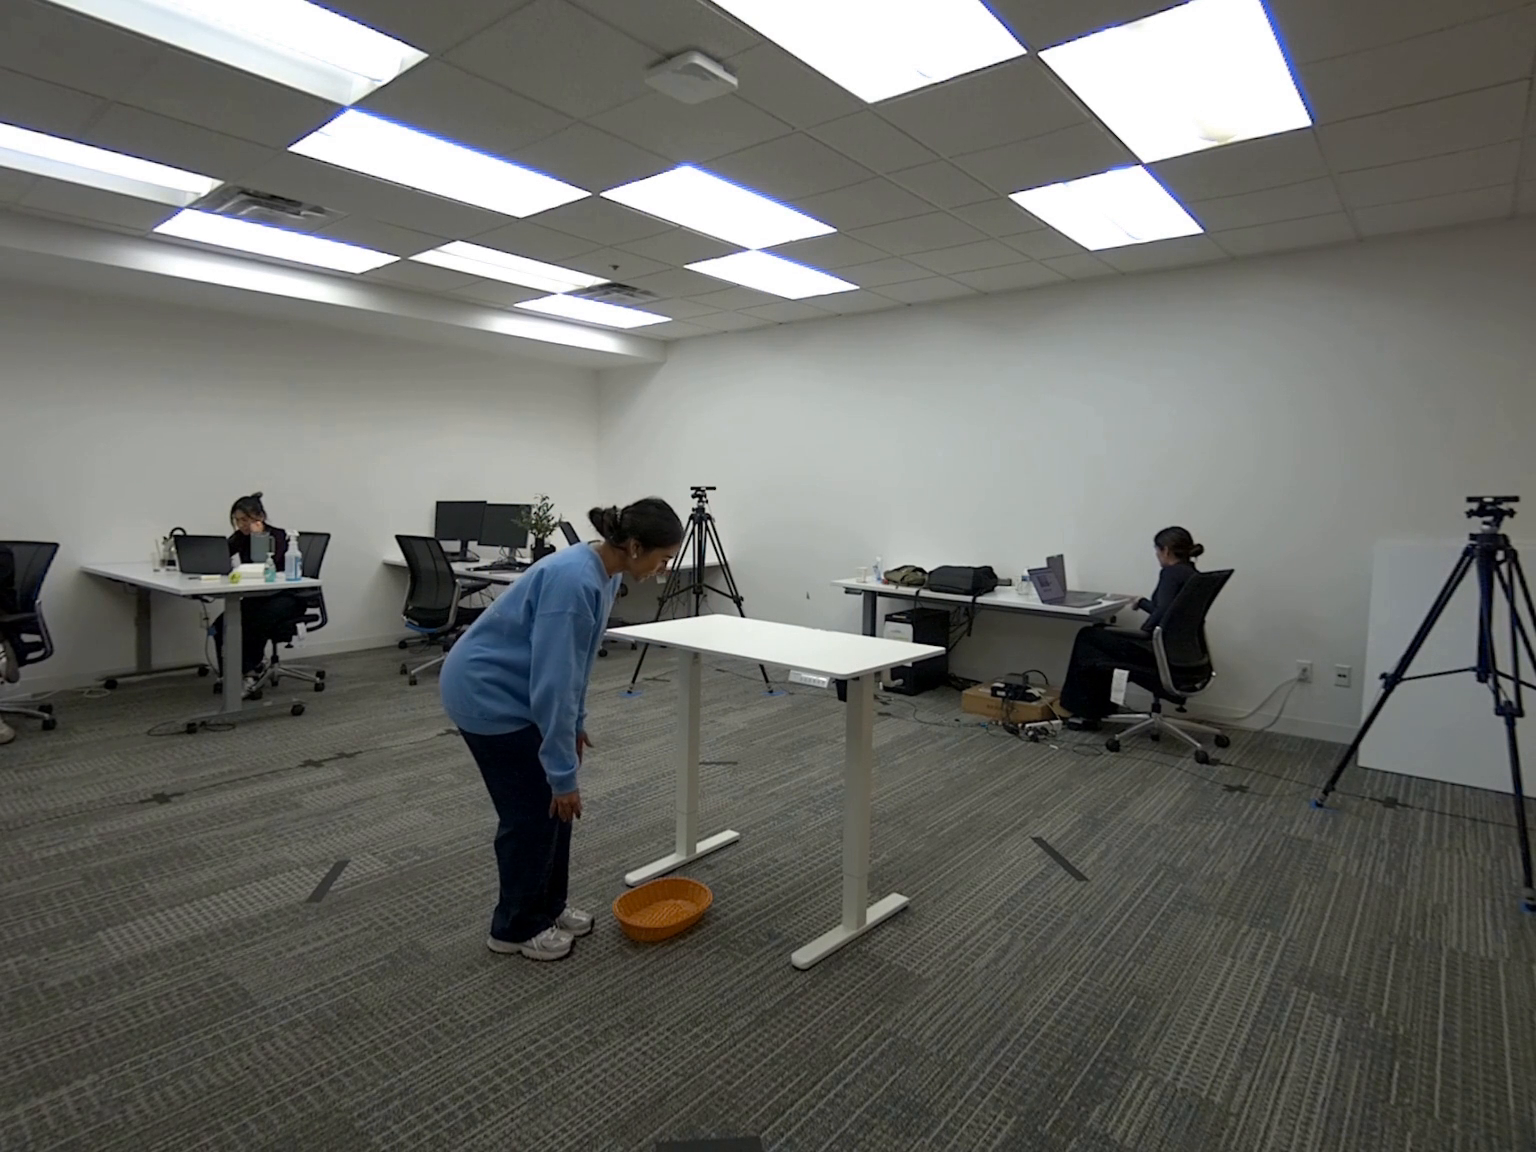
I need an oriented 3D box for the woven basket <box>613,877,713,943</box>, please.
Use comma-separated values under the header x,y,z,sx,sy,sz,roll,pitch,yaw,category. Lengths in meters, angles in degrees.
x,y,z,sx,sy,sz,roll,pitch,yaw,category
-0.342,1.057,2.713,0.261,0.073,0.340,8,8,42,woven basket
